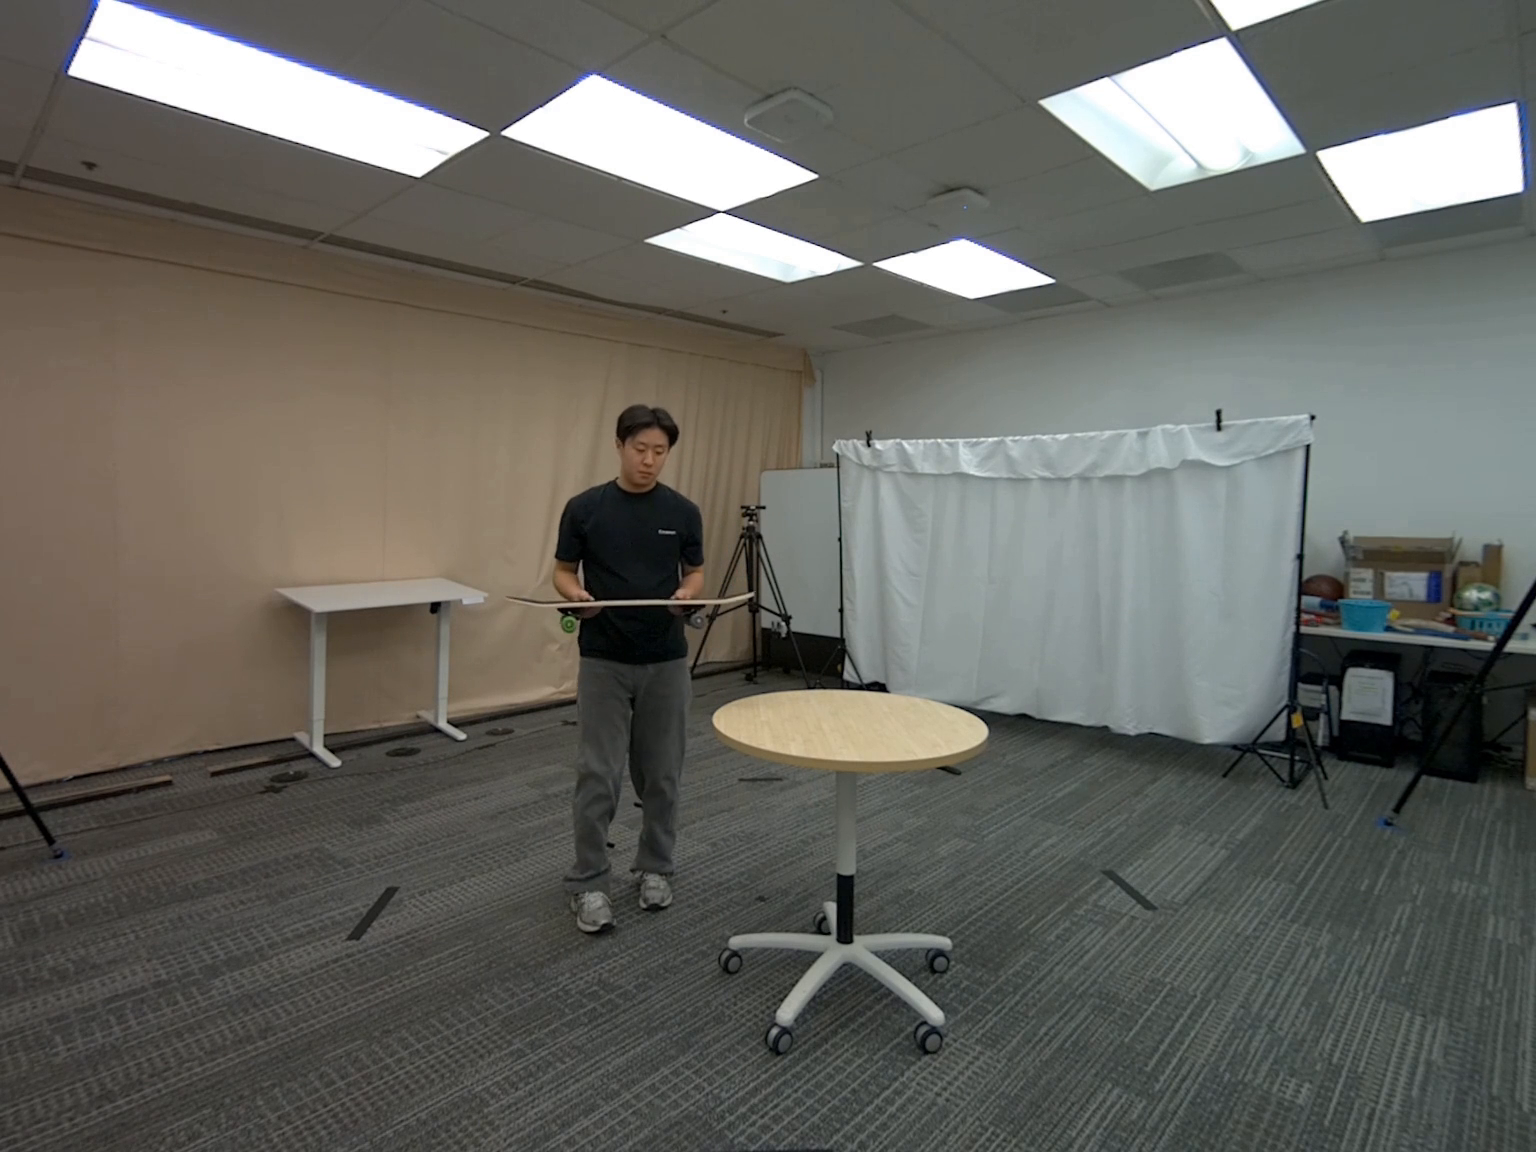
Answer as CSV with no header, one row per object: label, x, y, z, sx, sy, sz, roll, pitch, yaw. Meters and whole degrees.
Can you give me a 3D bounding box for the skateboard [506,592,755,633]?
skateboard,-0.425,0.121,2.665,0.776,0.110,0.196,-1,1,-11
